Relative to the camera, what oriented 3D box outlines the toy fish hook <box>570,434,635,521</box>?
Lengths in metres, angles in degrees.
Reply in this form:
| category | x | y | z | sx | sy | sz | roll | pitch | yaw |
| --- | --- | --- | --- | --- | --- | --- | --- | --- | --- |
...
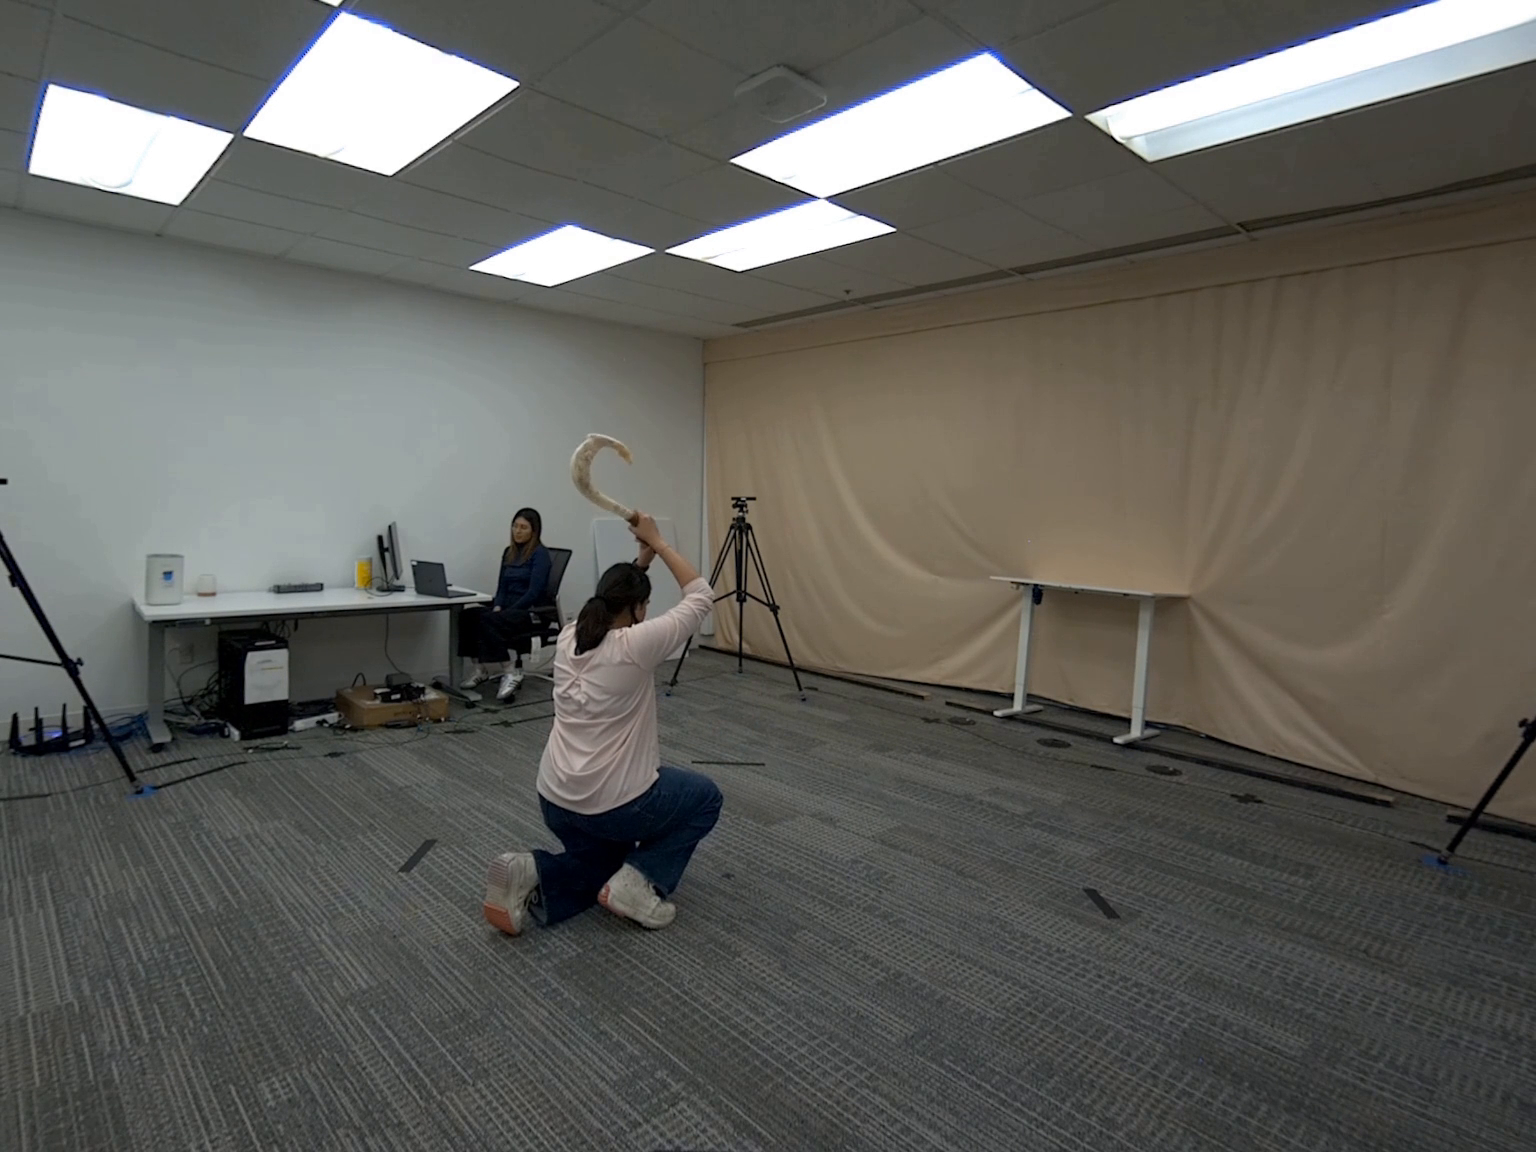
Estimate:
| category | x | y | z | sx | sy | sz | roll | pitch | yaw |
| --- | --- | --- | --- | --- | --- | --- | --- | --- | --- |
| toy fish hook | -0.475 | -0.274 | 2.850 | 0.050 | 0.225 | 0.491 | 18 | -25 | 47 |
